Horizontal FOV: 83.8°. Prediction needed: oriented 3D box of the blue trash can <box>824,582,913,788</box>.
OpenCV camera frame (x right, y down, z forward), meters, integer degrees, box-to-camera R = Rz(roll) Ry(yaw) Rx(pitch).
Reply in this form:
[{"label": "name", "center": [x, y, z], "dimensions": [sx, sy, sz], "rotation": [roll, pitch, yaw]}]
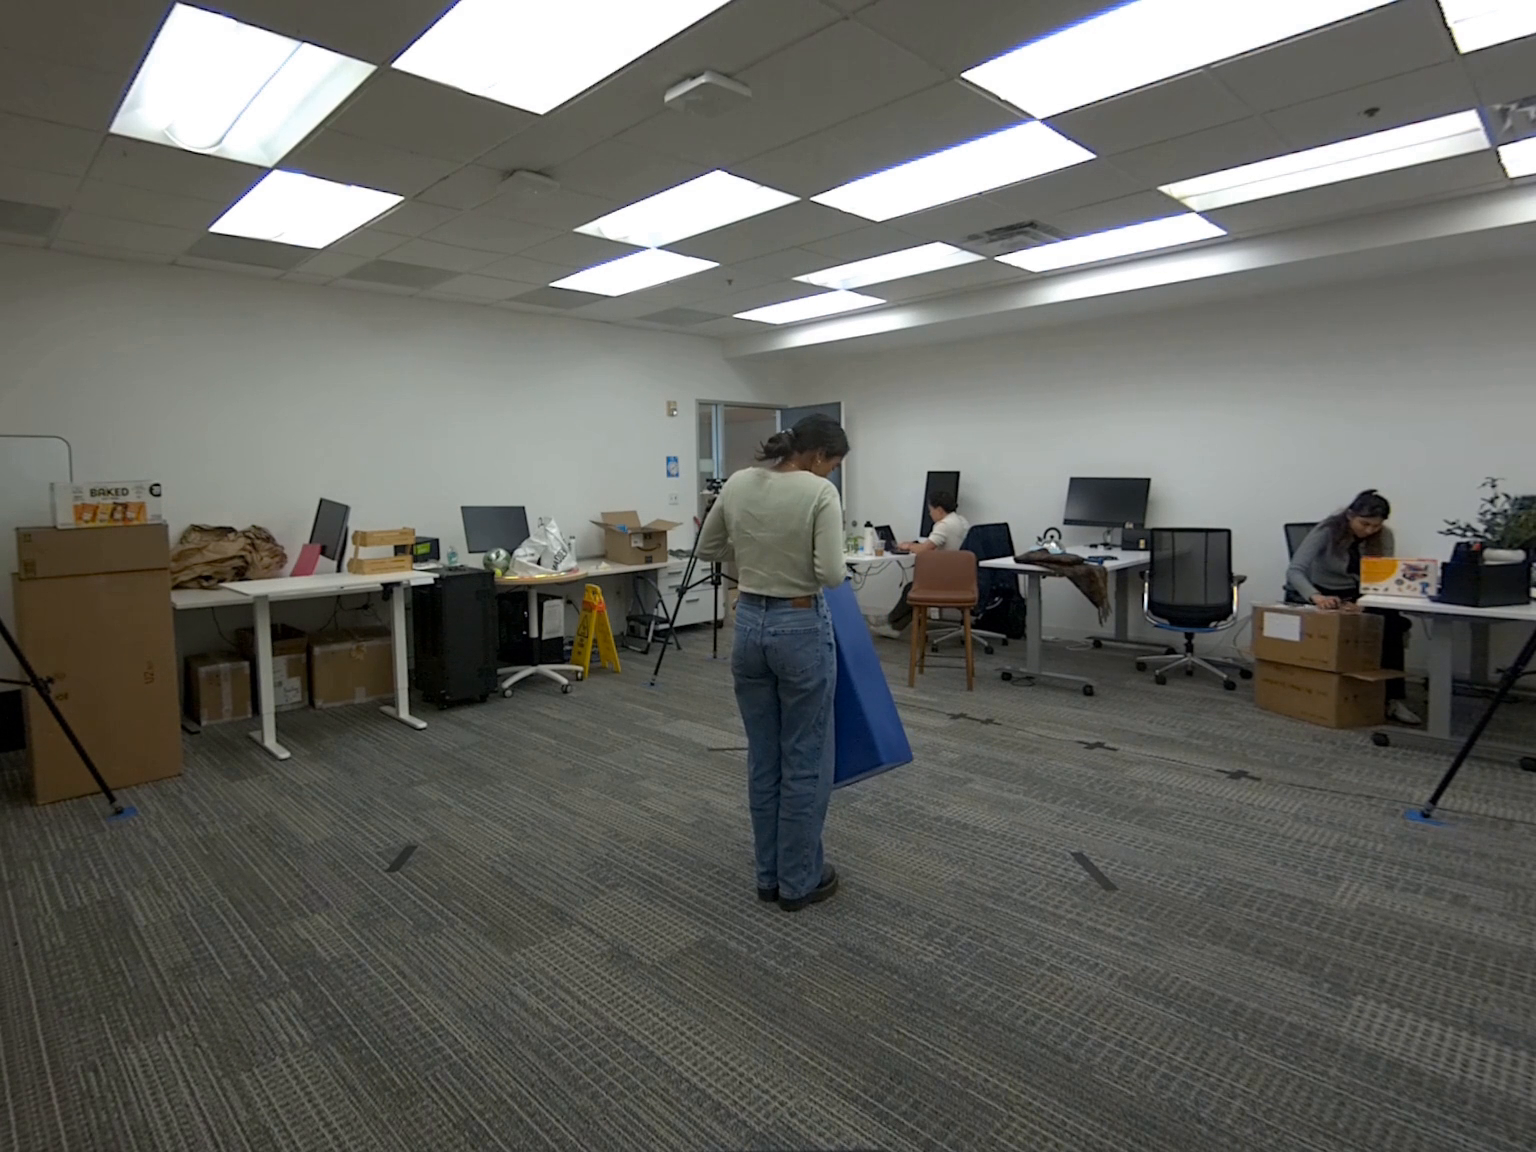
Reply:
[{"label": "blue trash can", "center": [0.209, 0.359, 3.039], "dimensions": [0.381, 0.731, 0.362], "rotation": [-29, -23, 23]}]
